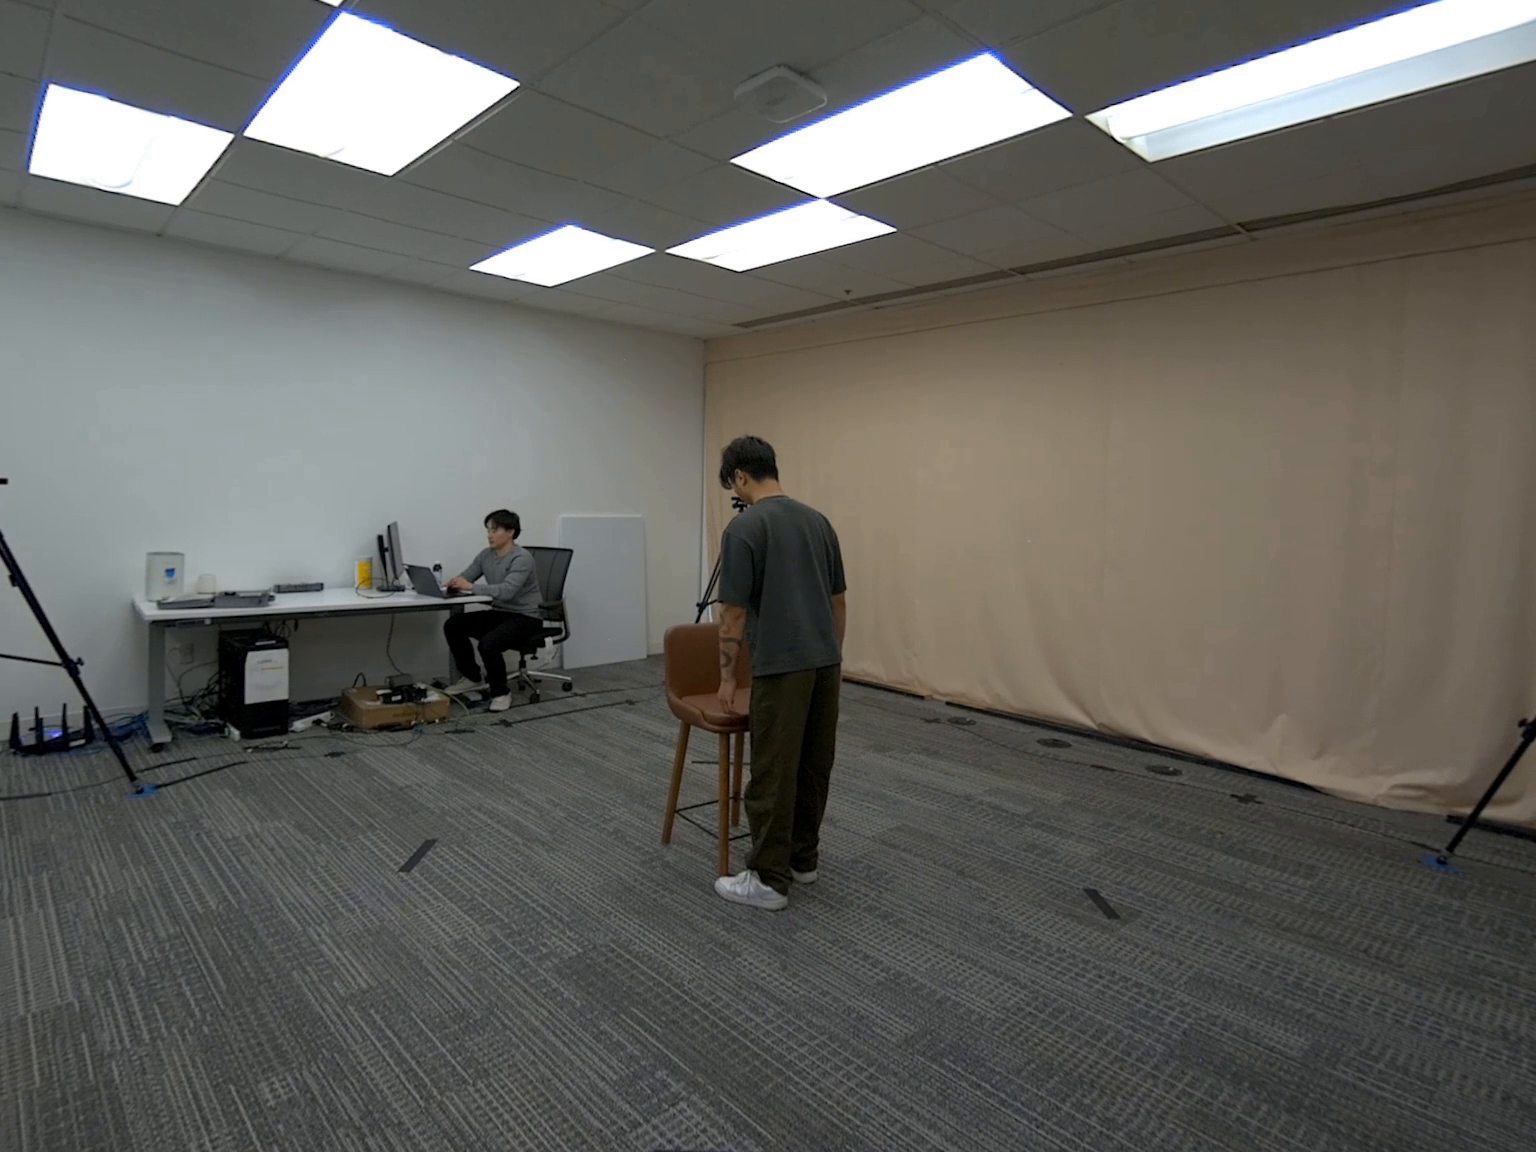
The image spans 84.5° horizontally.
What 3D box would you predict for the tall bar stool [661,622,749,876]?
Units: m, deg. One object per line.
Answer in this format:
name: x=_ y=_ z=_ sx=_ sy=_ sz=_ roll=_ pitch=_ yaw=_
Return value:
tall bar stool: x=-0.147 y=0.650 z=3.296 sx=0.446 sy=0.888 sz=0.479 roll=-1 pitch=2 yaw=-37
